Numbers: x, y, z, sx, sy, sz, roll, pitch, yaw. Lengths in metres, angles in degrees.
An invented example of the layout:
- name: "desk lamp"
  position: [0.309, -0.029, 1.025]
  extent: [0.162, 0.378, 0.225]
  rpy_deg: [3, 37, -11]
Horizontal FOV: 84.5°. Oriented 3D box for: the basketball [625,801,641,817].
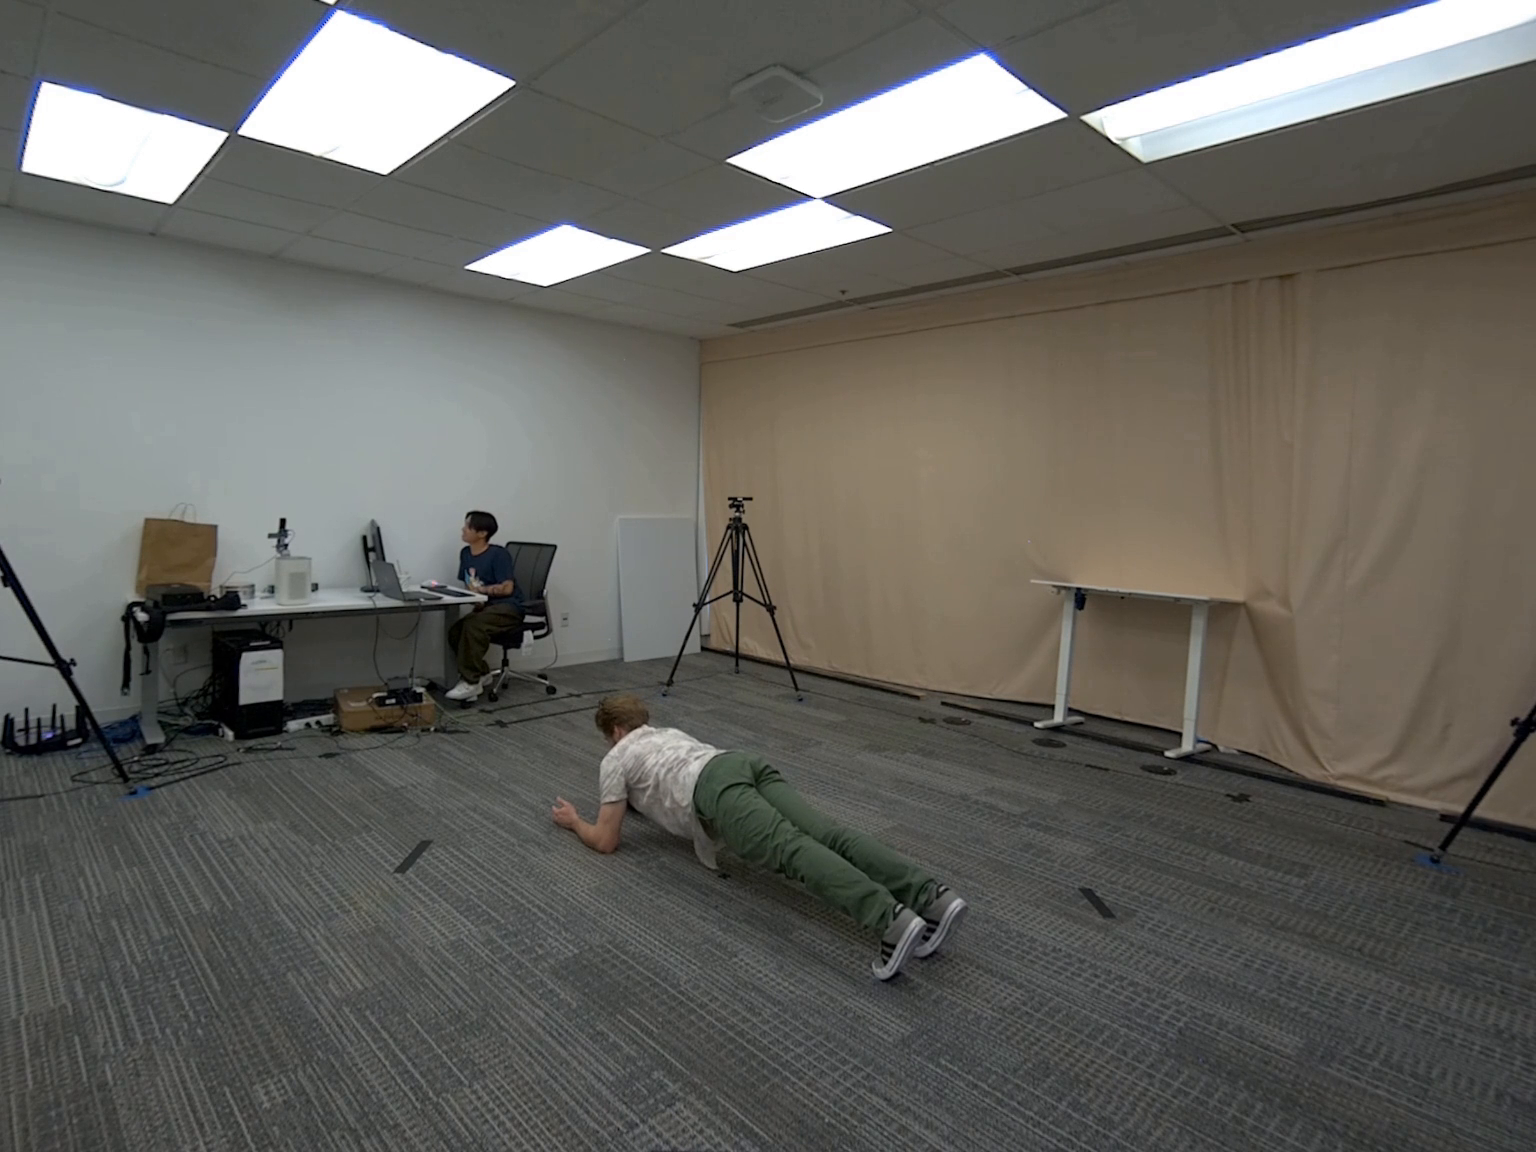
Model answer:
- name: "basketball"
  position: [-0.592, 0.918, 3.764]
  extent: [0.236, 0.235, 0.237]
  rpy_deg: [1, 4, -1]
